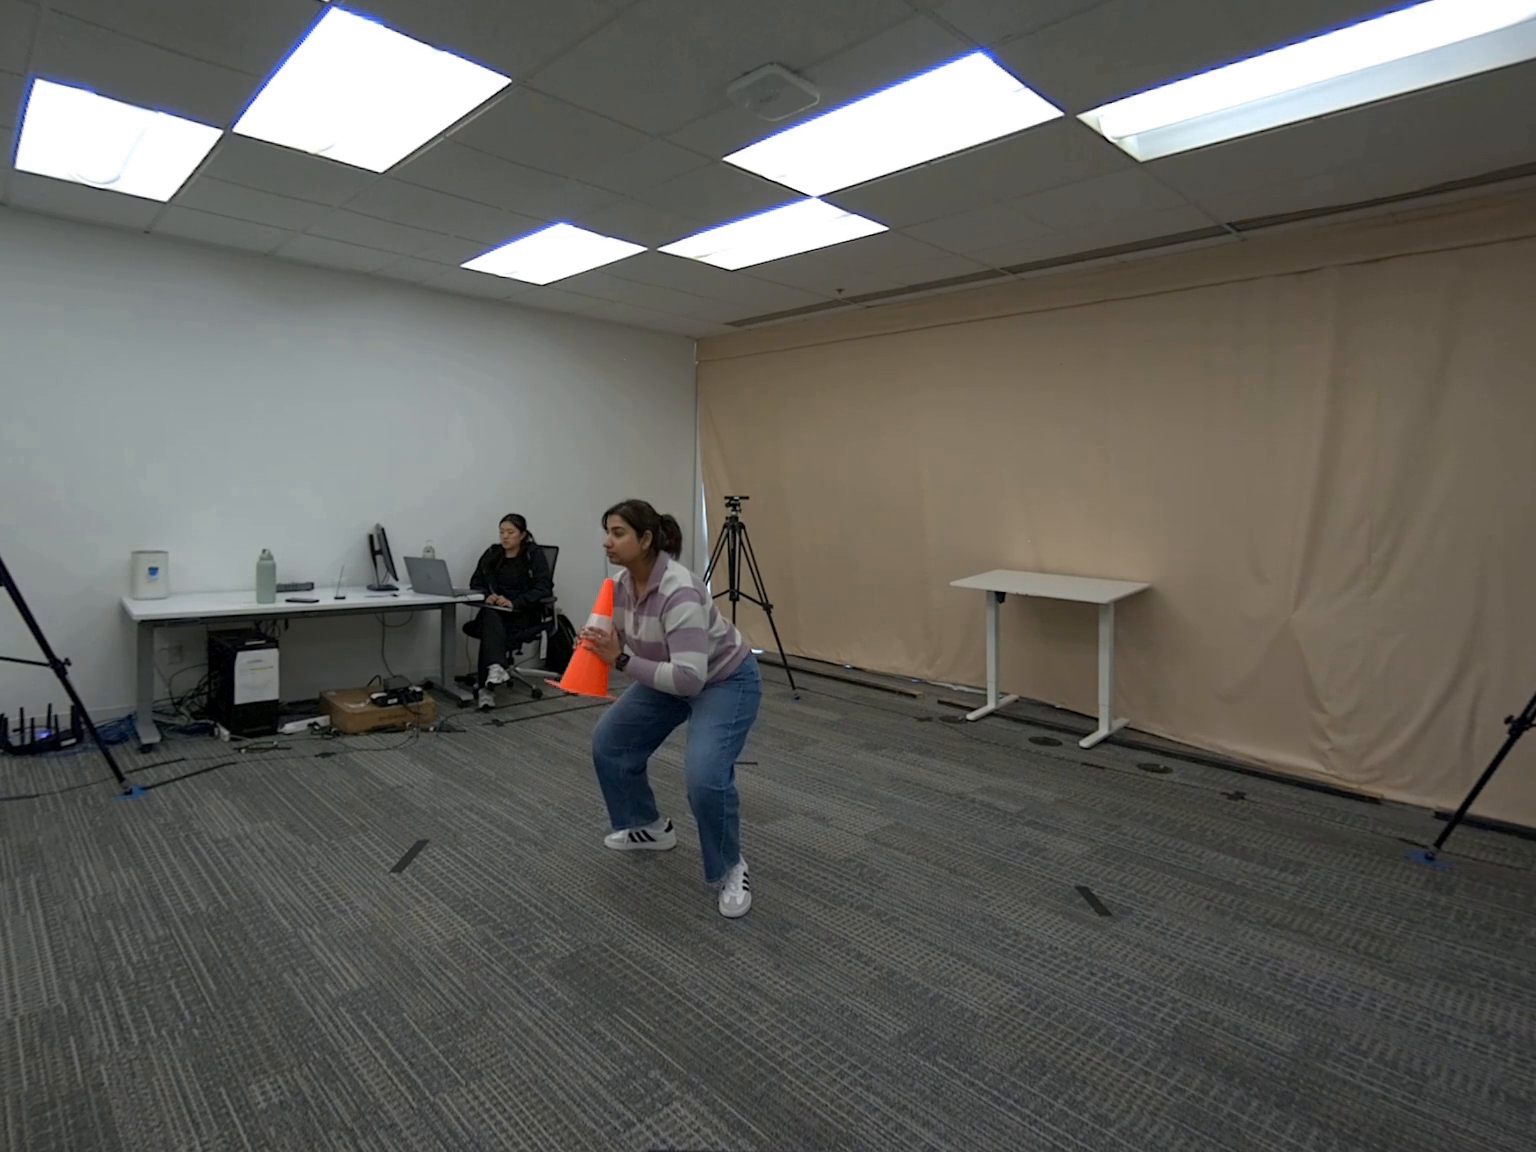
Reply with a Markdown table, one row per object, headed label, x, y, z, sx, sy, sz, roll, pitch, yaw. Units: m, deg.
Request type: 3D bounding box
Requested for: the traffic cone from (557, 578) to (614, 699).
| label | x | y | z | sx | sy | sz | roll | pitch | yaw |
| --- | --- | --- | --- | --- | --- | --- | --- | --- | --- |
| traffic cone | -0.576 | 0.200 | 2.817 | 0.198 | 0.385 | 0.210 | 16 | -7 | -38 |
